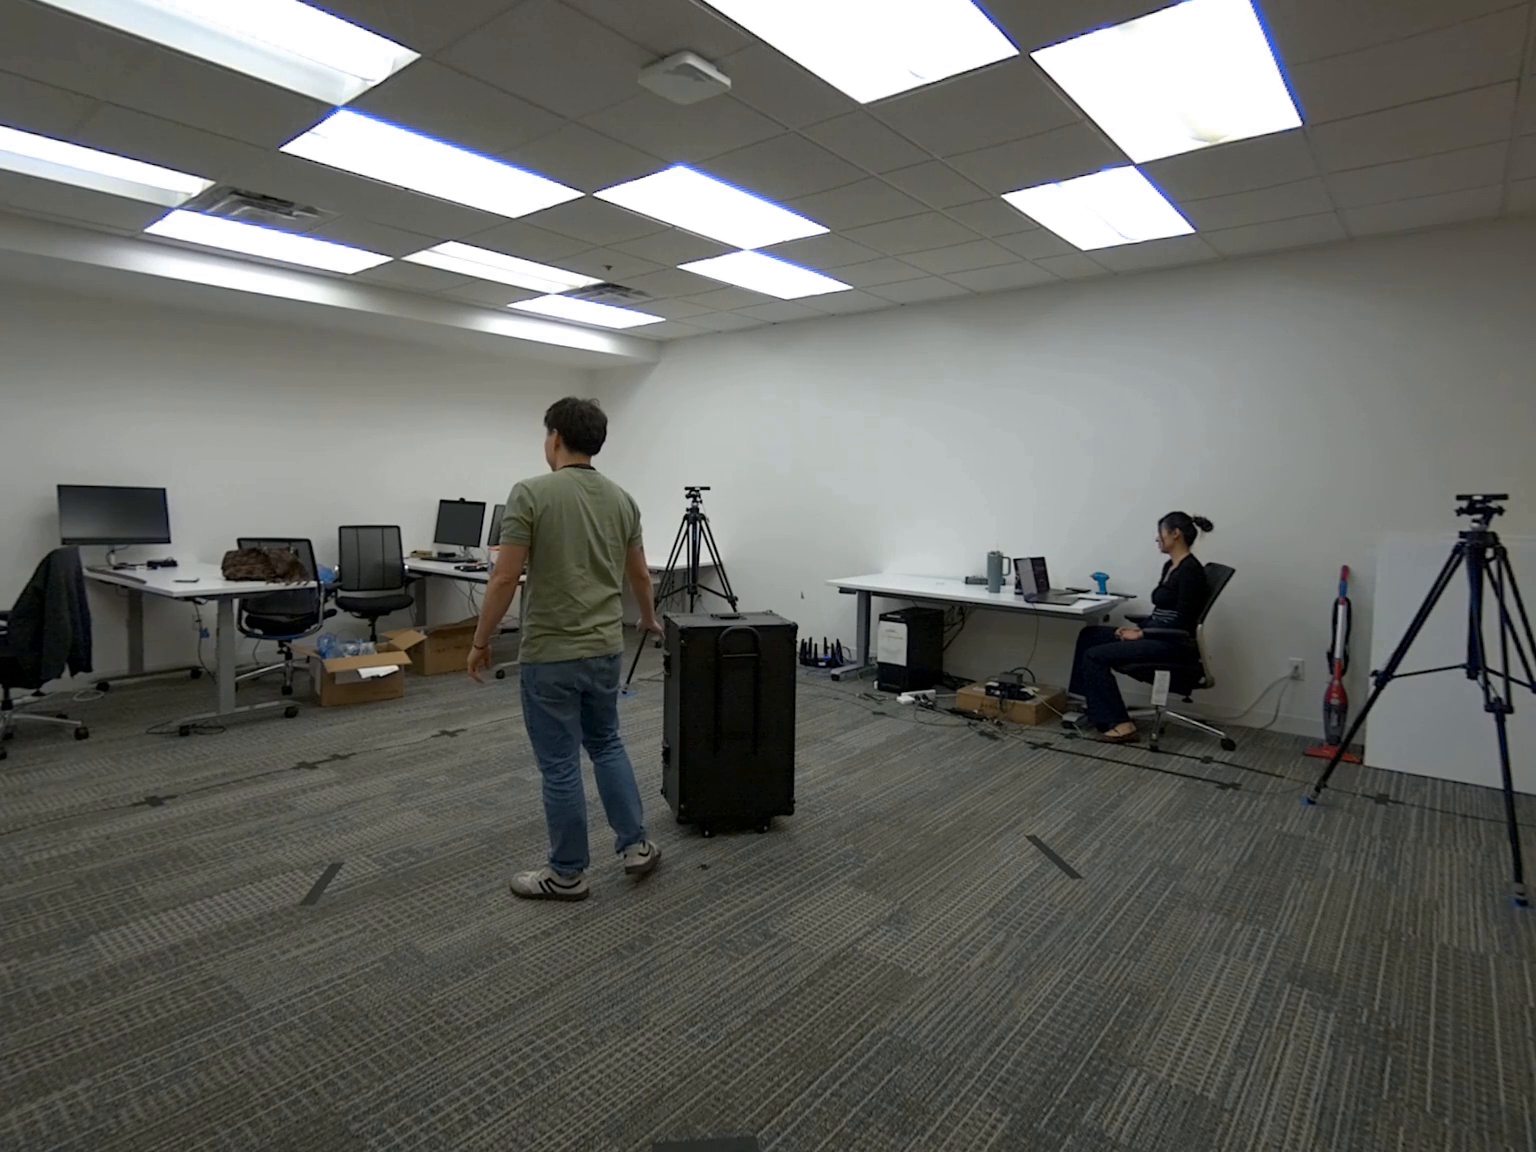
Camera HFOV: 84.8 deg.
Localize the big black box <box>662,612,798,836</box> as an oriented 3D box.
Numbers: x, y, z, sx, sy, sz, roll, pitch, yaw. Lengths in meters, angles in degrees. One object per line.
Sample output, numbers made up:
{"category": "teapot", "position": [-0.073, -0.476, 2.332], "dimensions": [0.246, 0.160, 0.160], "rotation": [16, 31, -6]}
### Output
{"category": "big black box", "position": [-0.180, 0.539, 3.529], "dimensions": [0.513, 0.859, 0.404], "rotation": [0, 3, -16]}
